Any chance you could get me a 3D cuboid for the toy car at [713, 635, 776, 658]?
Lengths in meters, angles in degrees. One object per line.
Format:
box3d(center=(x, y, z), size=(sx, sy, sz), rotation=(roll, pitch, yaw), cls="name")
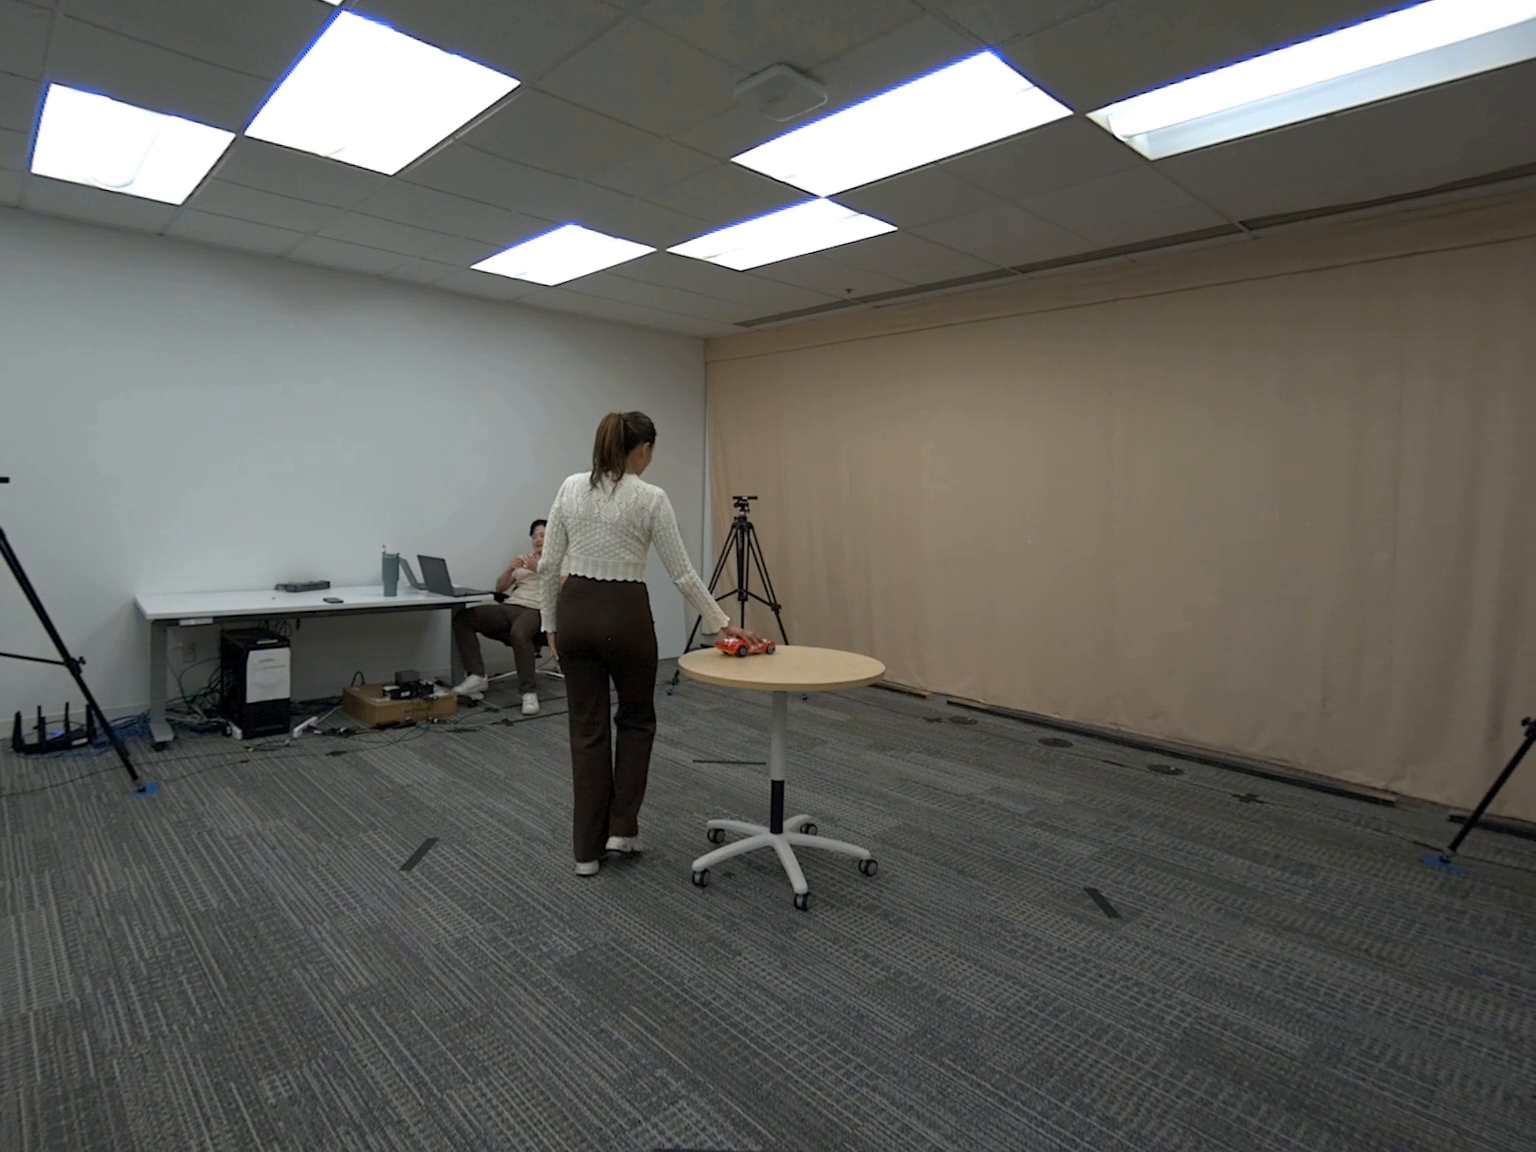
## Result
box3d(center=(-0.101, 0.276, 3.273), size=(0.248, 0.083, 0.133), rotation=(12, -5, -38), cls="toy car")
